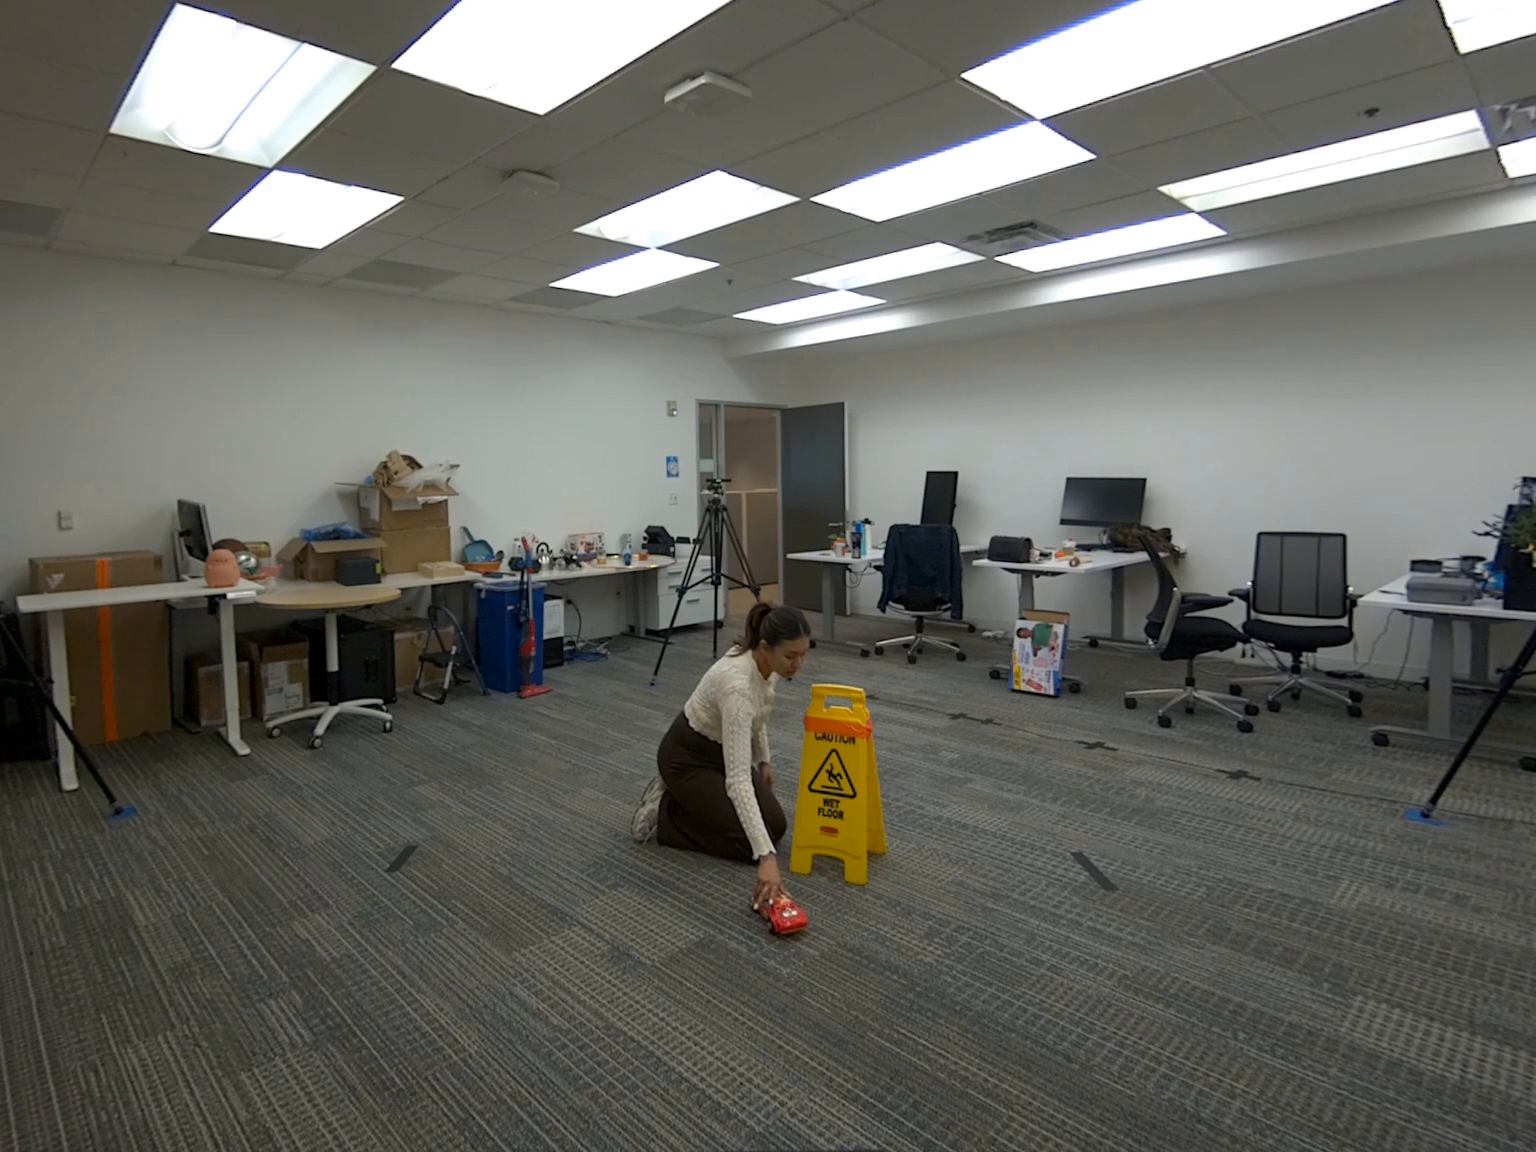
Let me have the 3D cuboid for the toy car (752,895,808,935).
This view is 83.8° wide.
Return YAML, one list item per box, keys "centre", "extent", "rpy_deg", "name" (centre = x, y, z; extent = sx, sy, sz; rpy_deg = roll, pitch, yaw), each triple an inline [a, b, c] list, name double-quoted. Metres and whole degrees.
- centre: [0.047, 1.060, 2.689]
  extent: [0.128, 0.084, 0.257]
  rpy_deg: [-4, -4, -21]
  name: "toy car"
